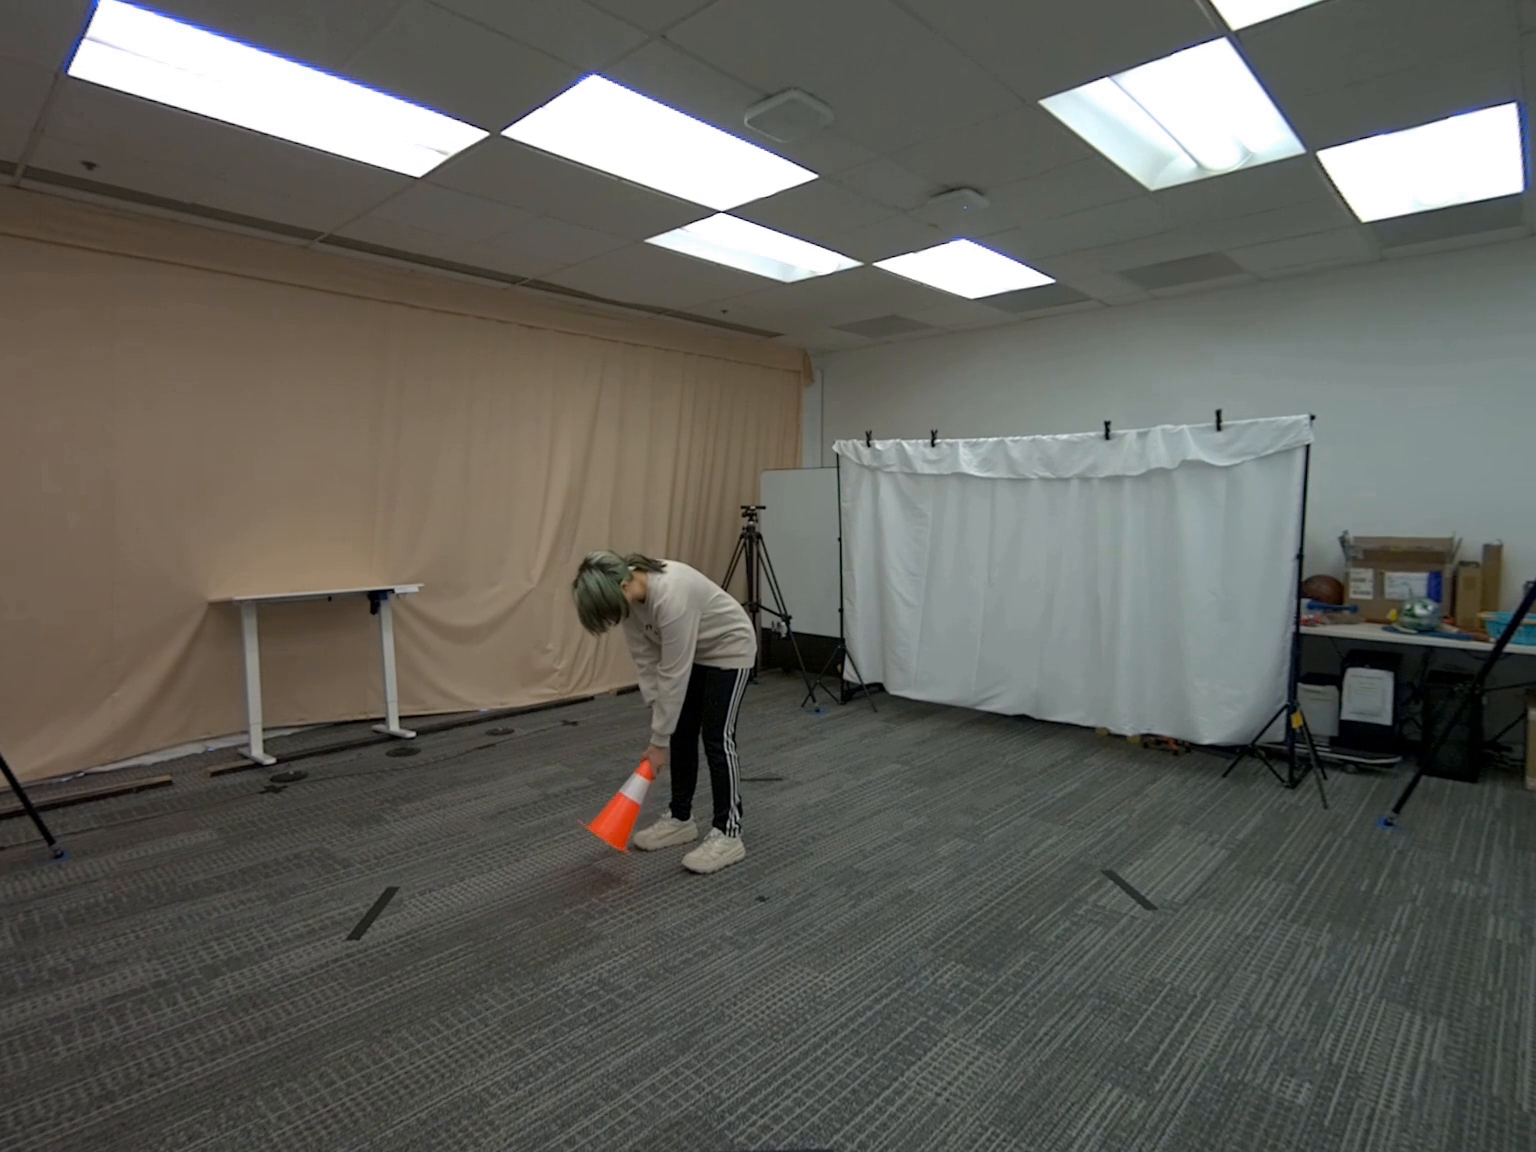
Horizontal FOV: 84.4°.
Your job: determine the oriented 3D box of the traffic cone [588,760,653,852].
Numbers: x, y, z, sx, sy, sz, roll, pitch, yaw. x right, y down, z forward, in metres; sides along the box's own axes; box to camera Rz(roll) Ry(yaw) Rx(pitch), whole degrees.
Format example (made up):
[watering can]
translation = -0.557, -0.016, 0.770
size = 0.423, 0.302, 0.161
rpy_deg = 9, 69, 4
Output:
[traffic cone]
translation = -0.518, 0.825, 3.164
size = 0.210, 0.383, 0.198
rpy_deg = 25, -17, 20
